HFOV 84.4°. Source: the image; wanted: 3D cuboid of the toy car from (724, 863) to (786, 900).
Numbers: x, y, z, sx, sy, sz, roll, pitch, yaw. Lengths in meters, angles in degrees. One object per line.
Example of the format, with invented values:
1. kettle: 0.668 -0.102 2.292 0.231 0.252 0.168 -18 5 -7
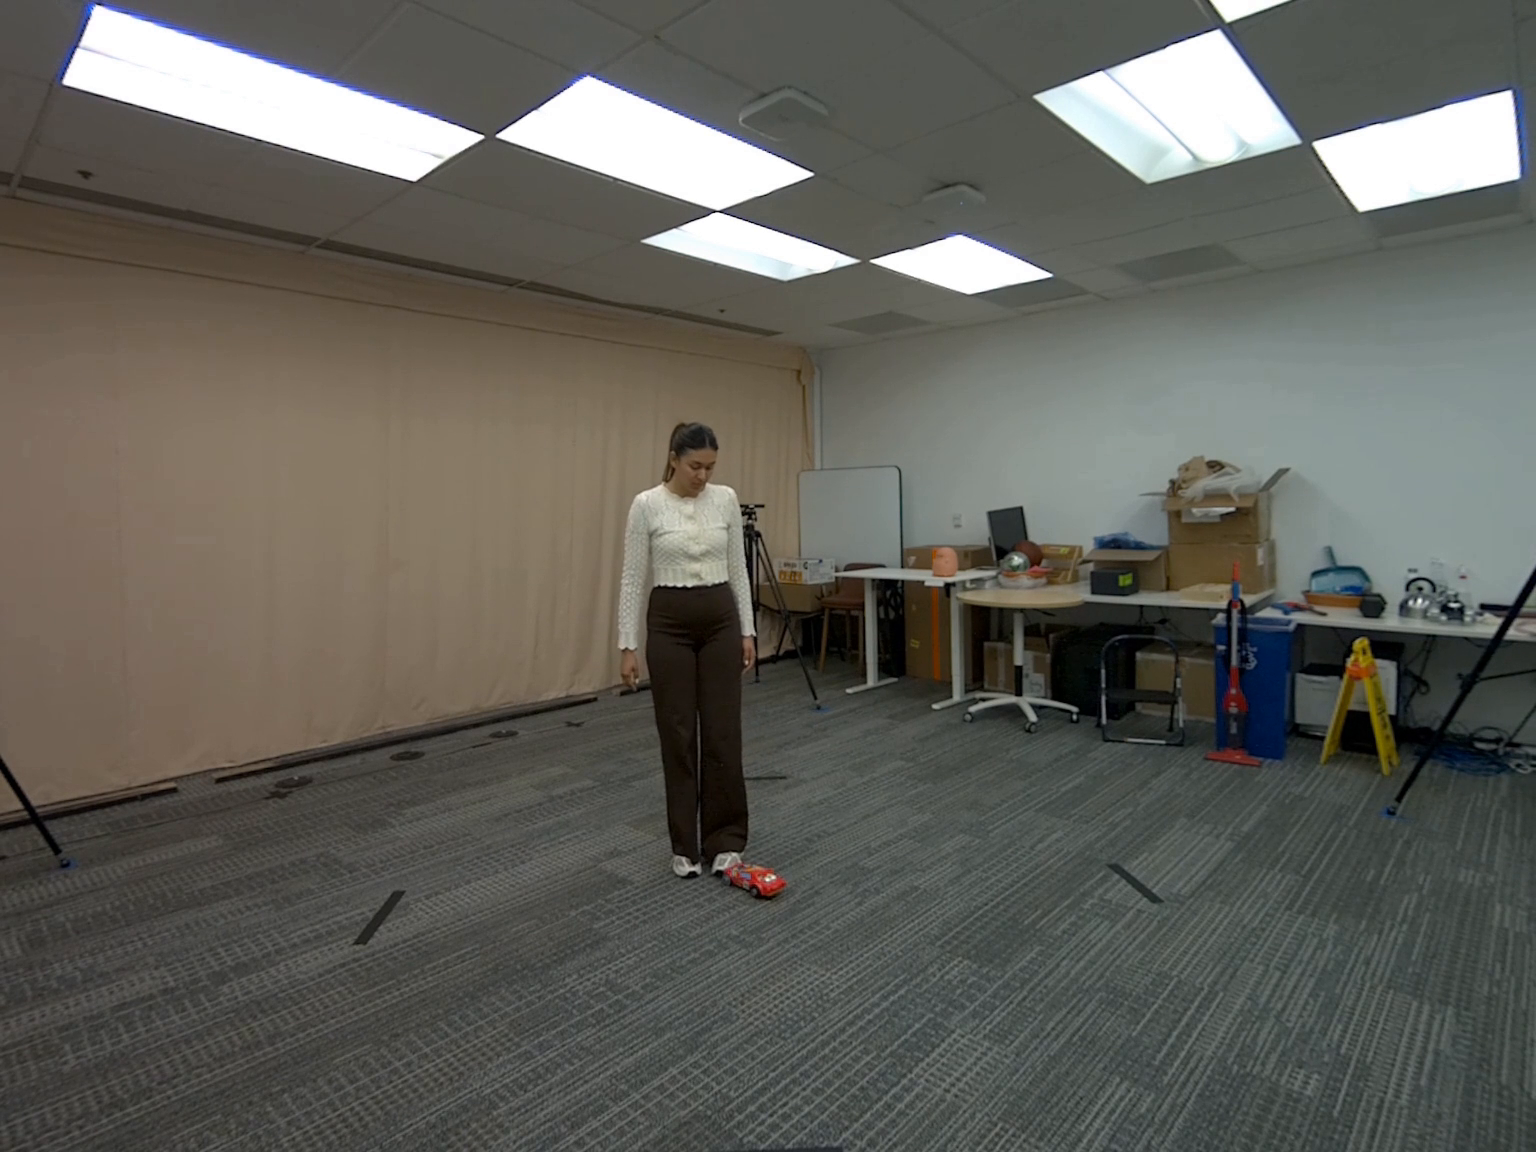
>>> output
1. toy car: -0.038 1.101 3.045 0.126 0.083 0.261 -6 -5 -44
